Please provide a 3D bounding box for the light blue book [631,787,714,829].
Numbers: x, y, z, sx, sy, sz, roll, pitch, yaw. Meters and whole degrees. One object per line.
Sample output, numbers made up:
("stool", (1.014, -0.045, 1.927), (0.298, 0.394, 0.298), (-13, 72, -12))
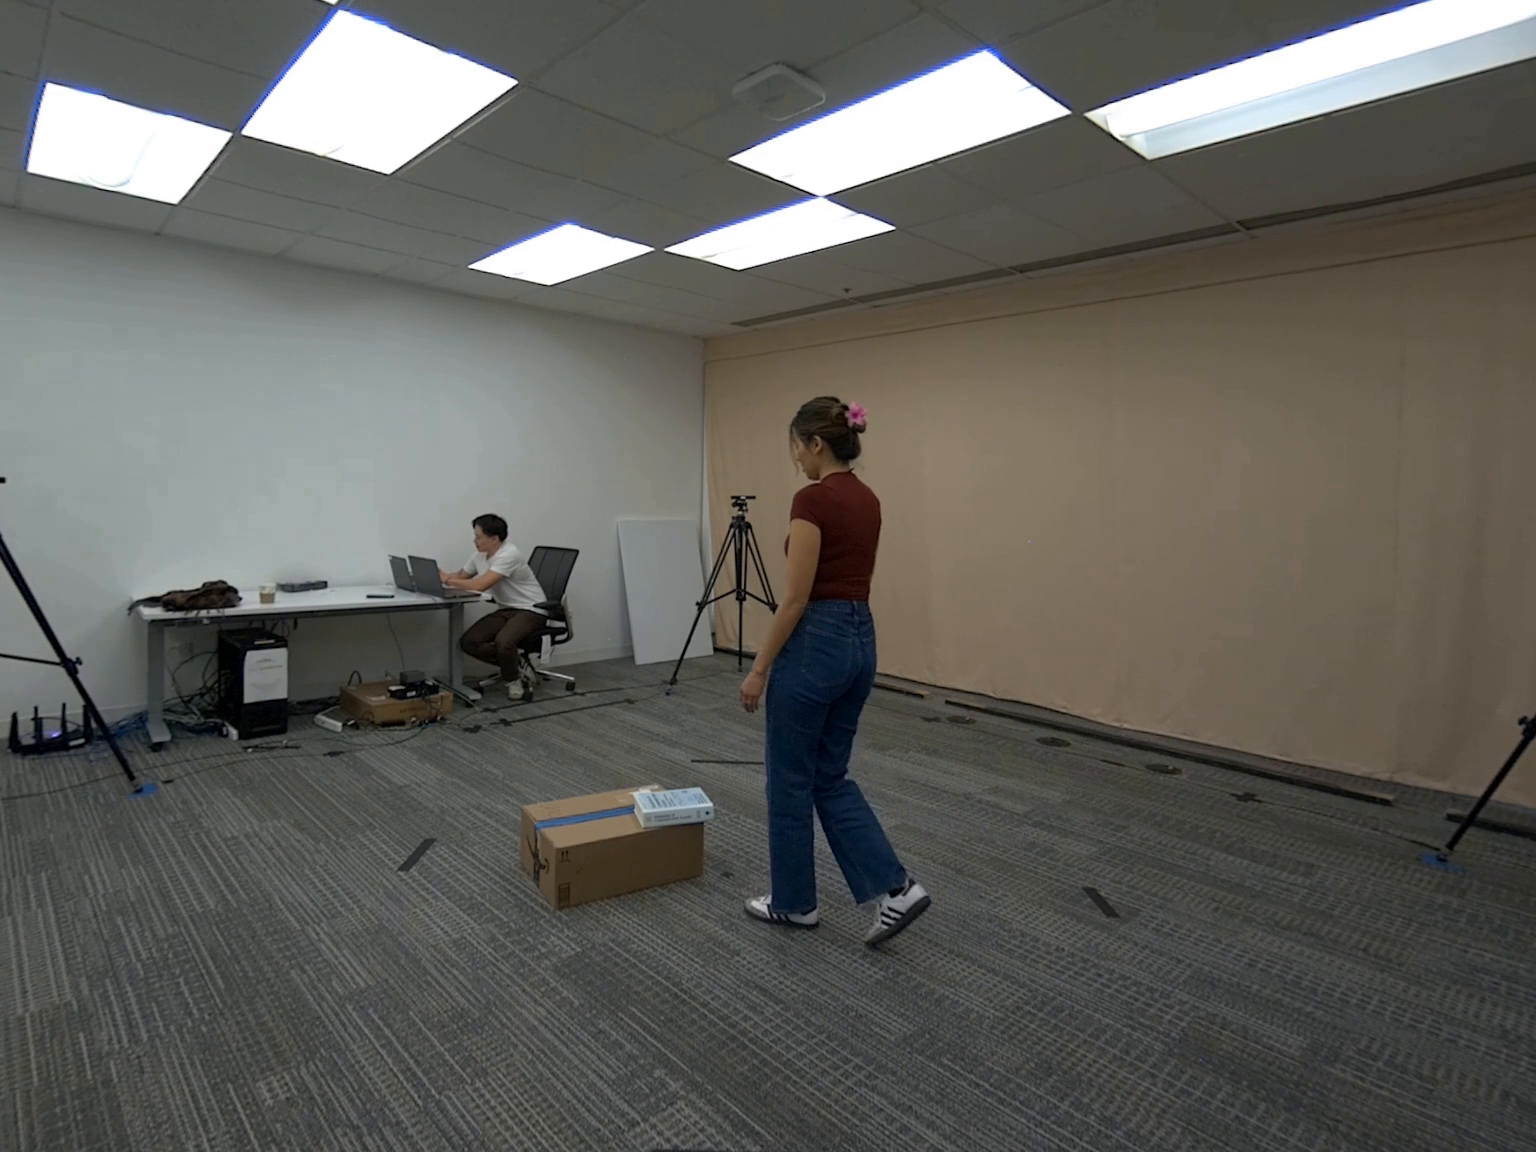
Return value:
("light blue book", (-0.357, 0.843, 3.097), (0.257, 0.059, 0.195), (-1, 6, -19))
